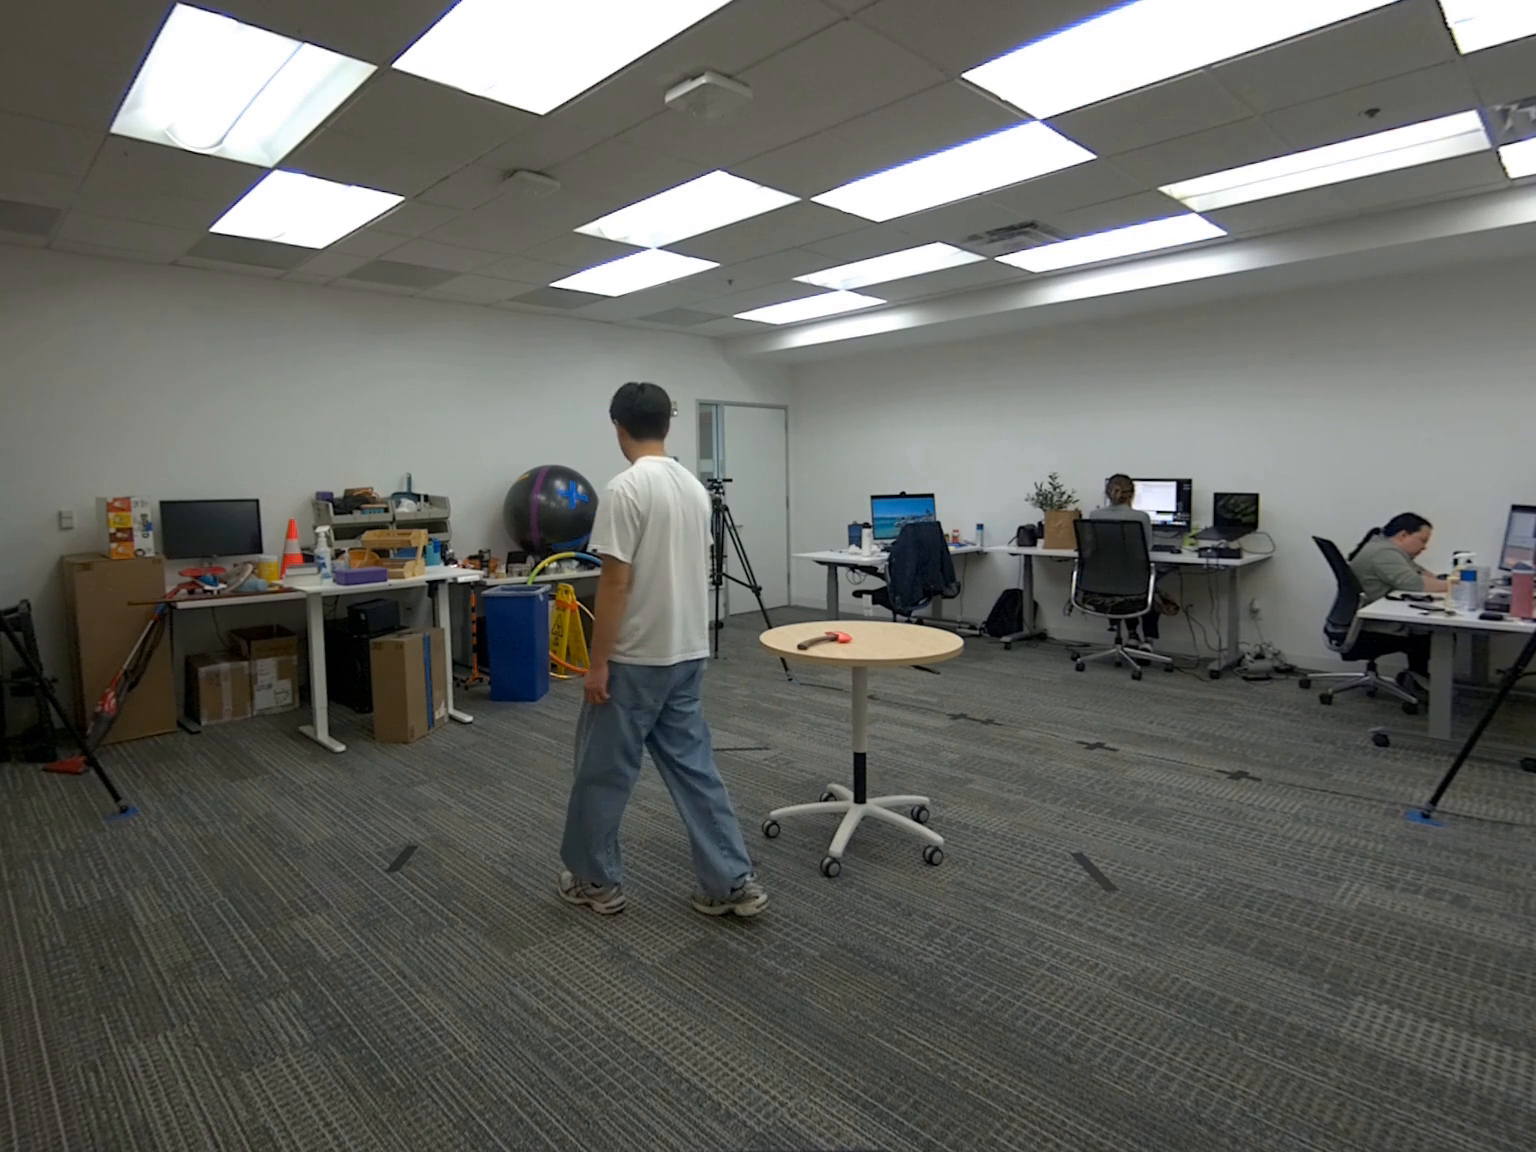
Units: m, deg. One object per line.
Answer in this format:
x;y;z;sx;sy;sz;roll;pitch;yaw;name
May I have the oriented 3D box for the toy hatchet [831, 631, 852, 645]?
0.226;0.243;3.138;0.134;0.029;0.265;7;11;28;toy hatchet
